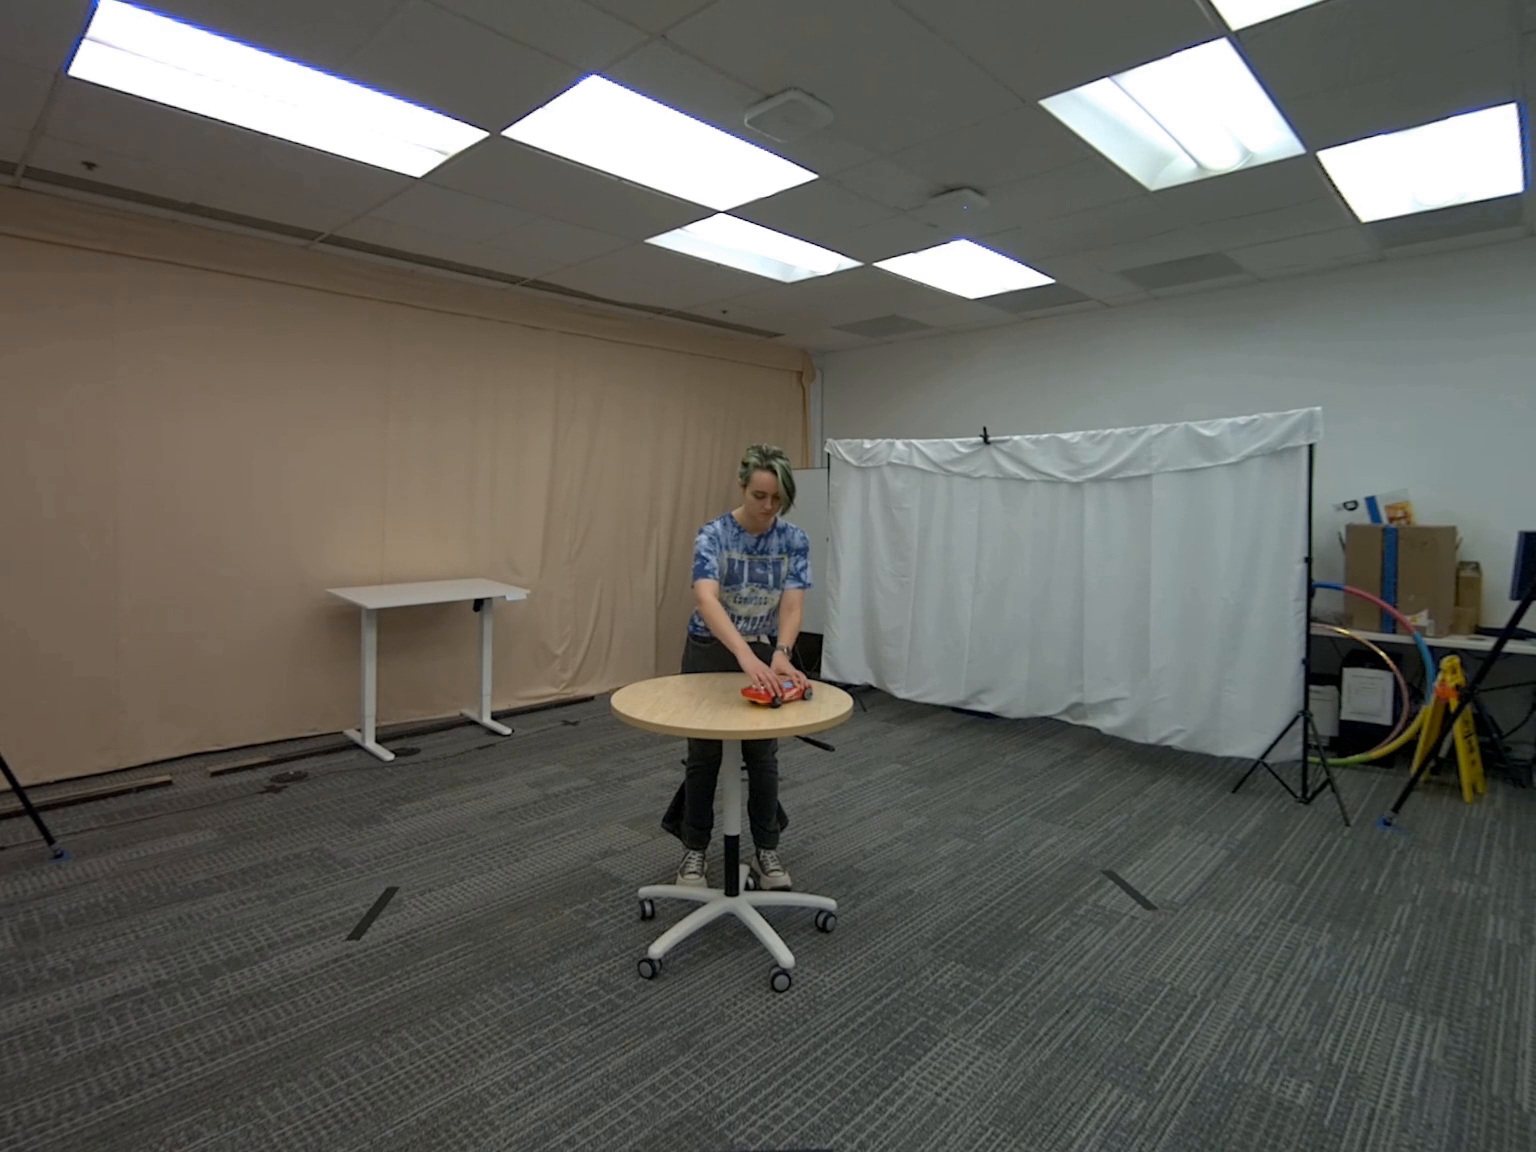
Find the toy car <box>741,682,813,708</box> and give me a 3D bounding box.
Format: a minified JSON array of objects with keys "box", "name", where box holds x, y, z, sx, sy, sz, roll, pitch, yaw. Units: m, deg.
[{"box":[0.026,0.364,2.613,0.135,0.083,0.246,10,-1,44],"name":"toy car"}]
